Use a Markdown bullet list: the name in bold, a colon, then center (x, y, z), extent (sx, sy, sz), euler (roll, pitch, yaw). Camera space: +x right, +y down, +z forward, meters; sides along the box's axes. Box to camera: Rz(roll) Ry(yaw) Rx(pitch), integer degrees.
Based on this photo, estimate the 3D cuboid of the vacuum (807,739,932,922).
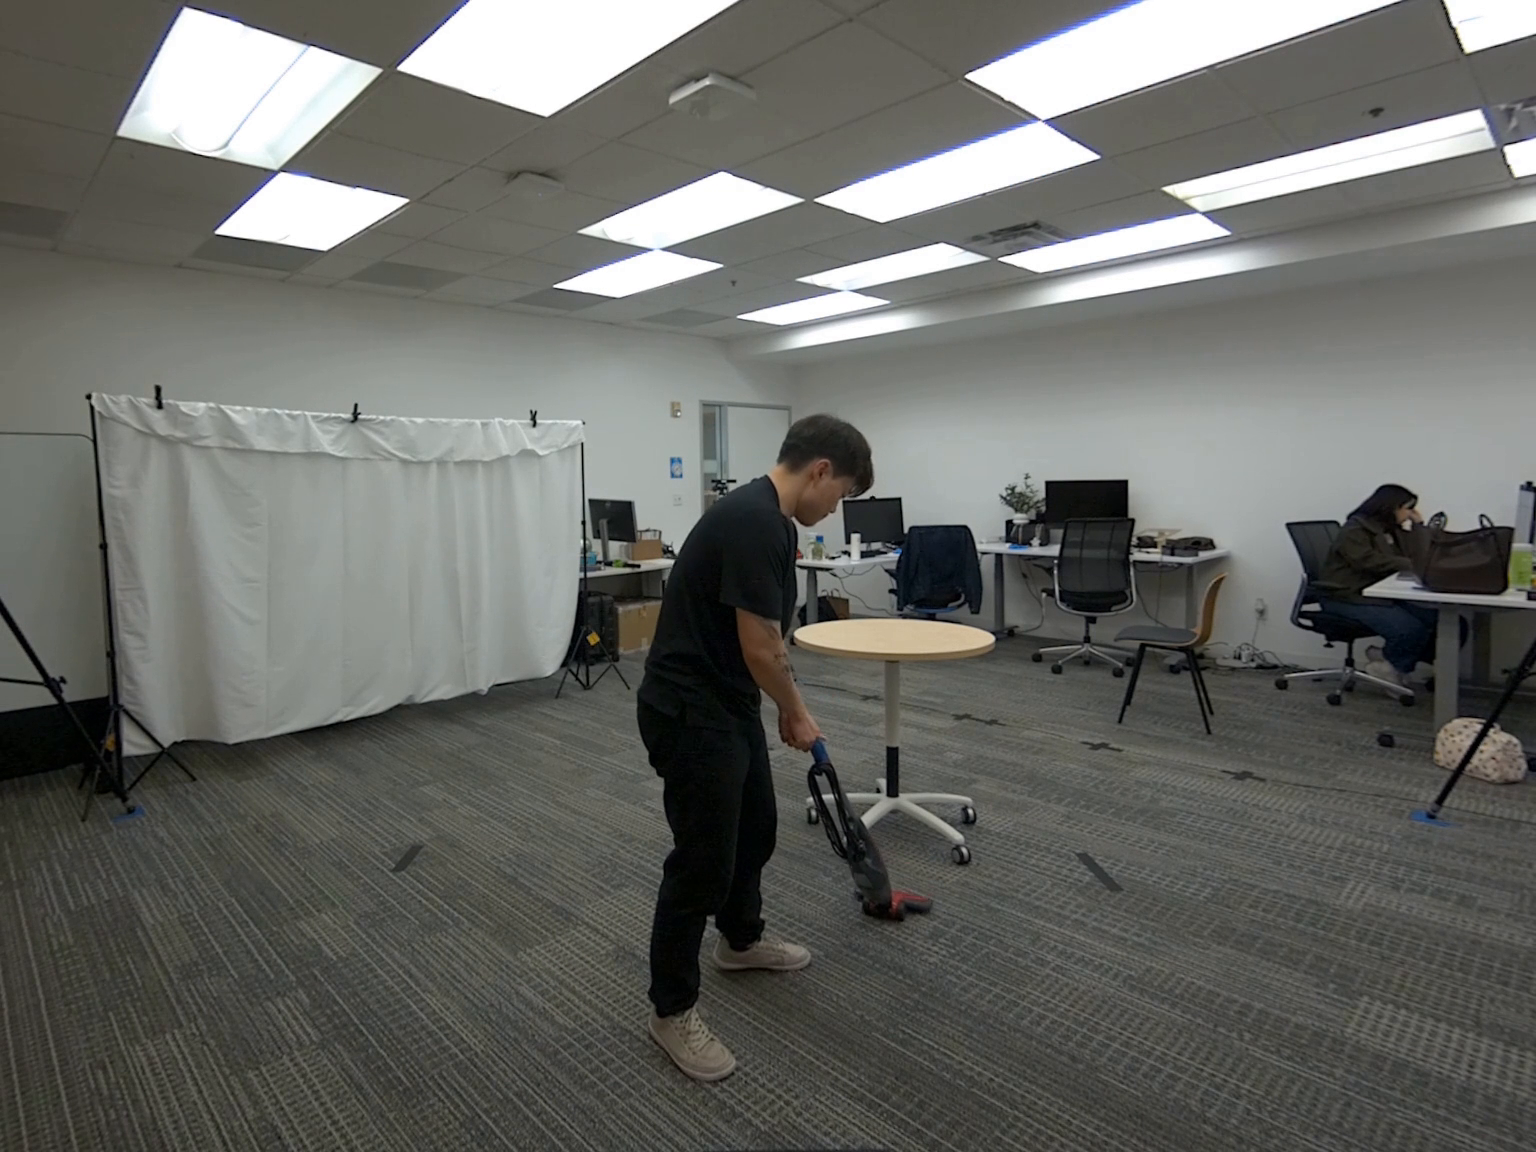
- **vacuum**: center (0.244, 0.725, 2.442), extent (0.258, 1.011, 0.146), euler (-2, 47, 23)
